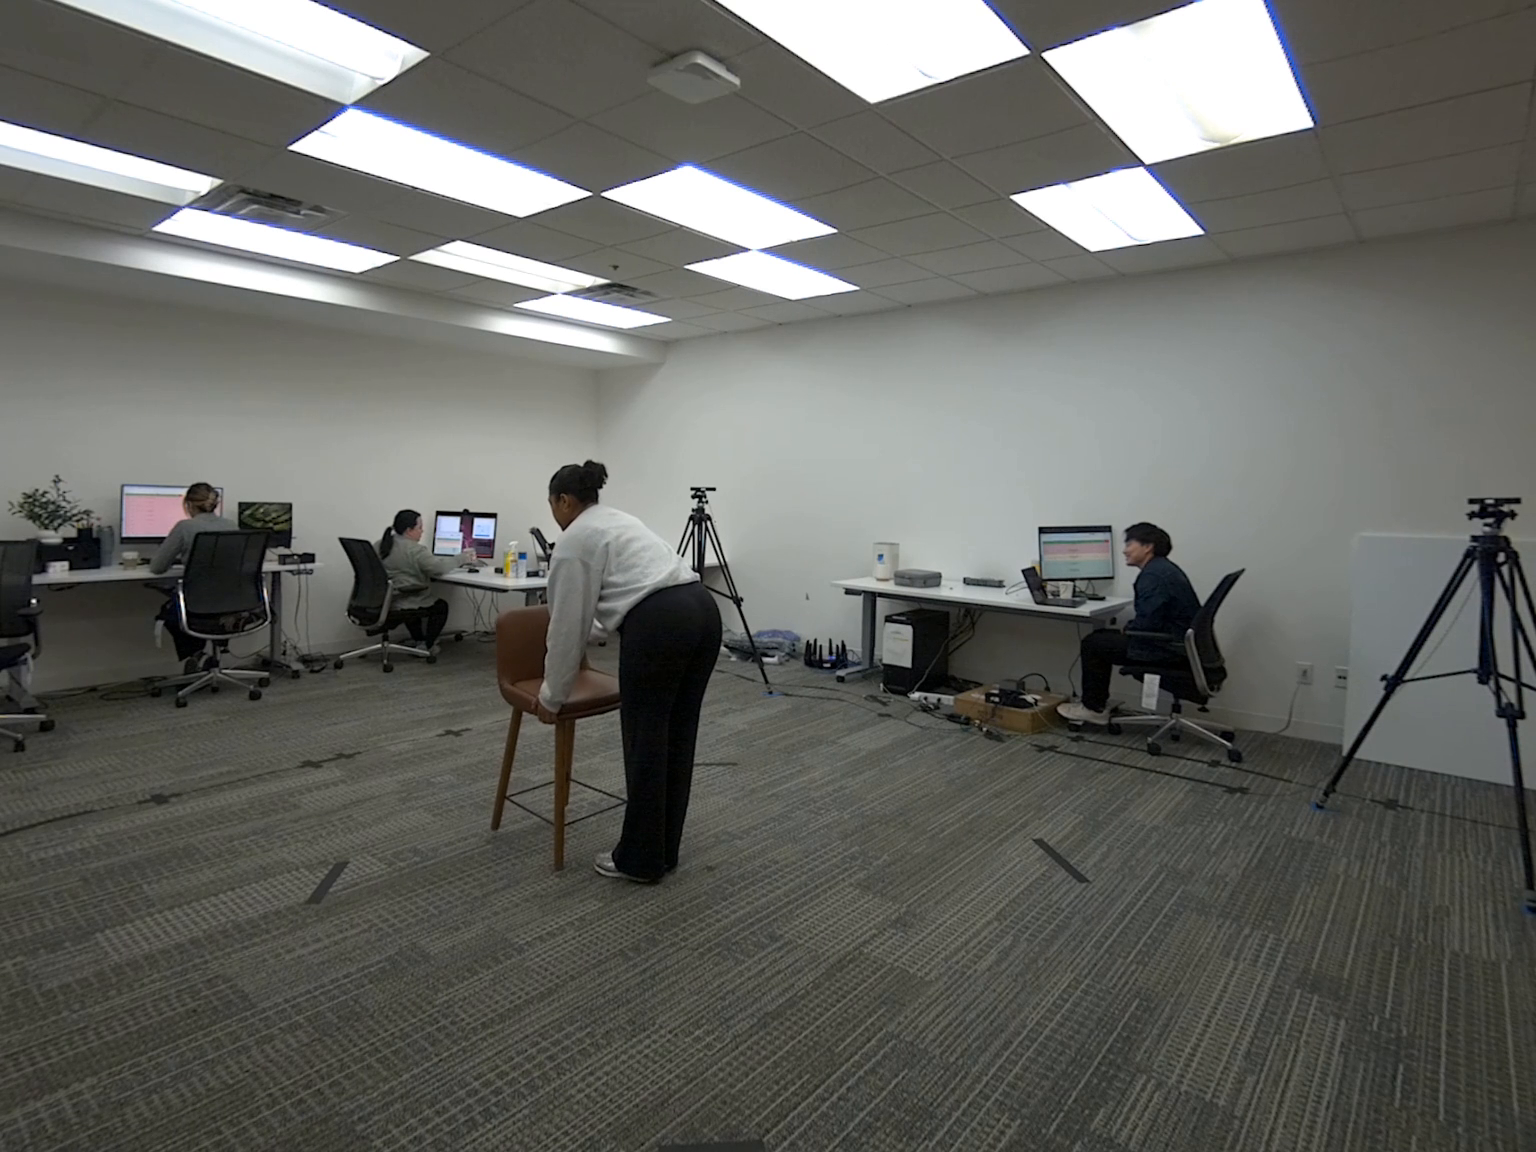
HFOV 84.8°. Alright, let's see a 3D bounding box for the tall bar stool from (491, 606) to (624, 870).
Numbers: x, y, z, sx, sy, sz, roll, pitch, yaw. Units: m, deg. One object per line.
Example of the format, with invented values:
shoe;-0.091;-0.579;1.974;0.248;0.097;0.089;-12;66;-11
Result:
tall bar stool;-0.802;0.583;3.327;0.483;0.887;0.443;5;5;40
